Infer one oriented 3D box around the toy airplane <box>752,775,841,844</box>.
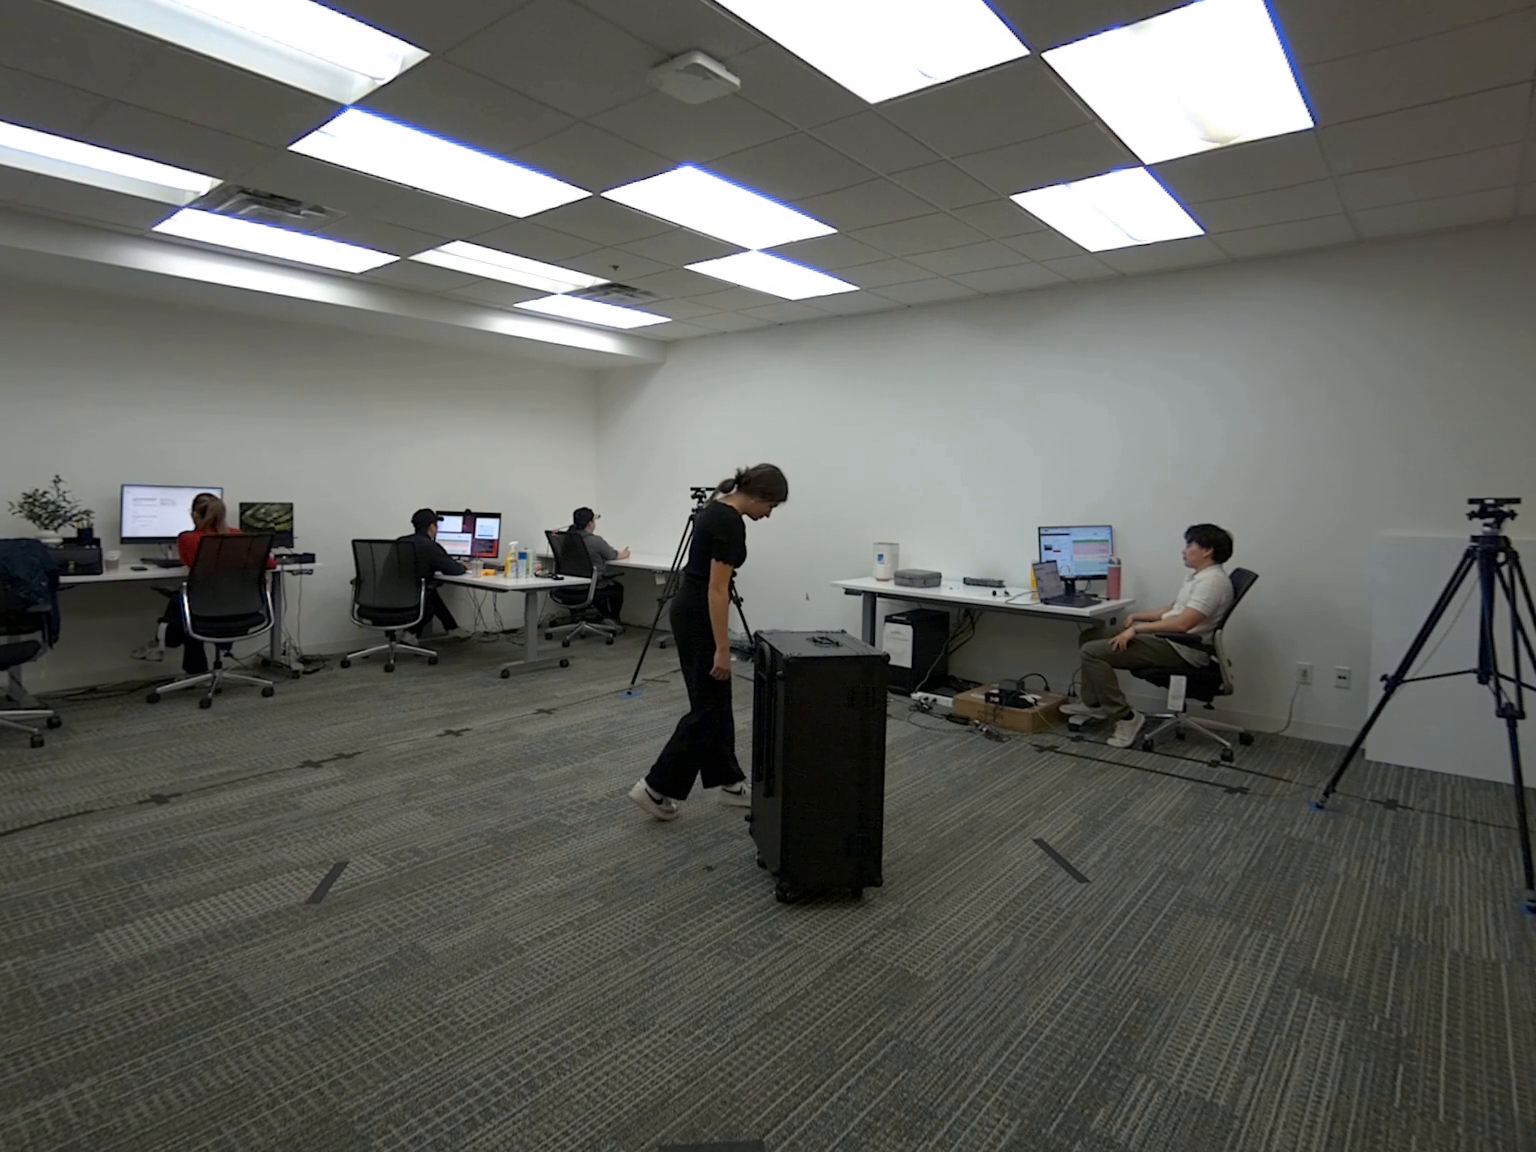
[{"bbox_3d":[0.116,0.958,3.485,0.251,0.156,0.259,-1,5,-37],"label":"toy airplane"}]
